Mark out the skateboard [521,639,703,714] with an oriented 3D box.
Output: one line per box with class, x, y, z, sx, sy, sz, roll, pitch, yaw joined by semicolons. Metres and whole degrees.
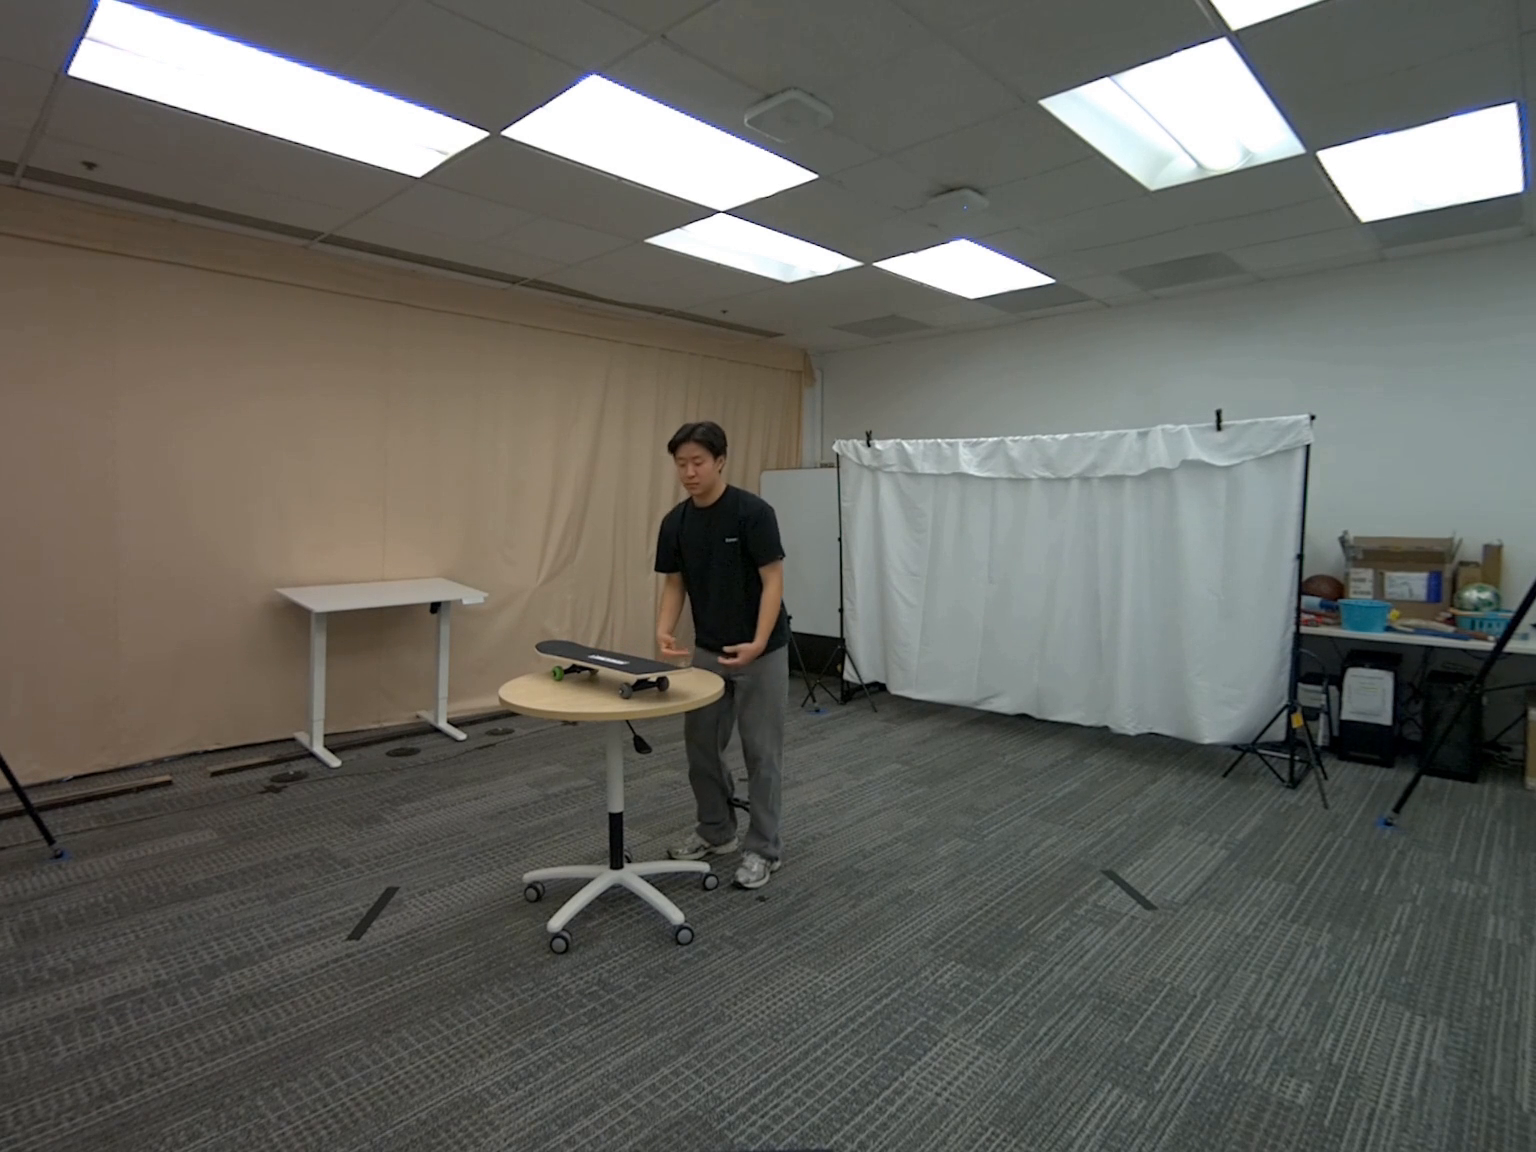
skateboard;-0.555;0.324;2.873;0.188;0.110;0.812;-6;7;-44
